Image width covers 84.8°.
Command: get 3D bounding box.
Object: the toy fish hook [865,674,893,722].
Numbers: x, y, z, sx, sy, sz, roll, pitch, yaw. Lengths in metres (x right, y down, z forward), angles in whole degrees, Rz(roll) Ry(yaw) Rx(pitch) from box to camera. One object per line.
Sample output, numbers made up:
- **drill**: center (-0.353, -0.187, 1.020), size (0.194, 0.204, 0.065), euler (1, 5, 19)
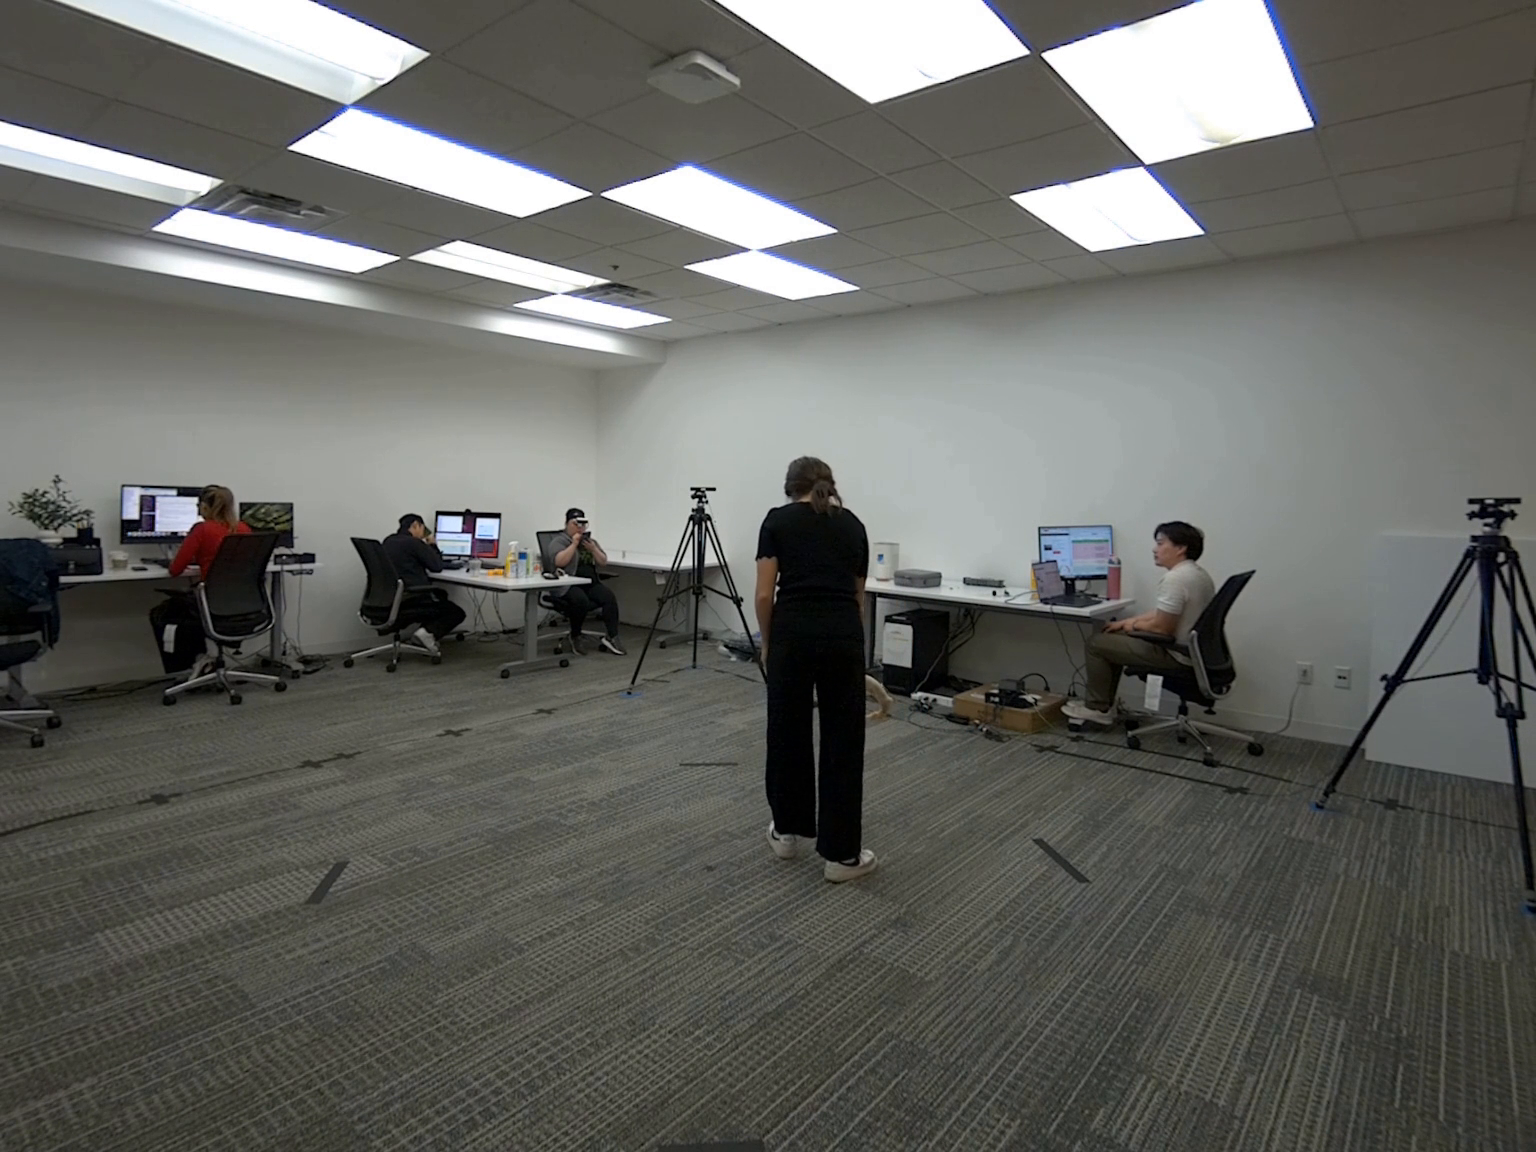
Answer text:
- **toy fish hook**: center (0.282, 0.517, 3.442), size (0.048, 0.224, 0.512), euler (-37, 4, -39)
